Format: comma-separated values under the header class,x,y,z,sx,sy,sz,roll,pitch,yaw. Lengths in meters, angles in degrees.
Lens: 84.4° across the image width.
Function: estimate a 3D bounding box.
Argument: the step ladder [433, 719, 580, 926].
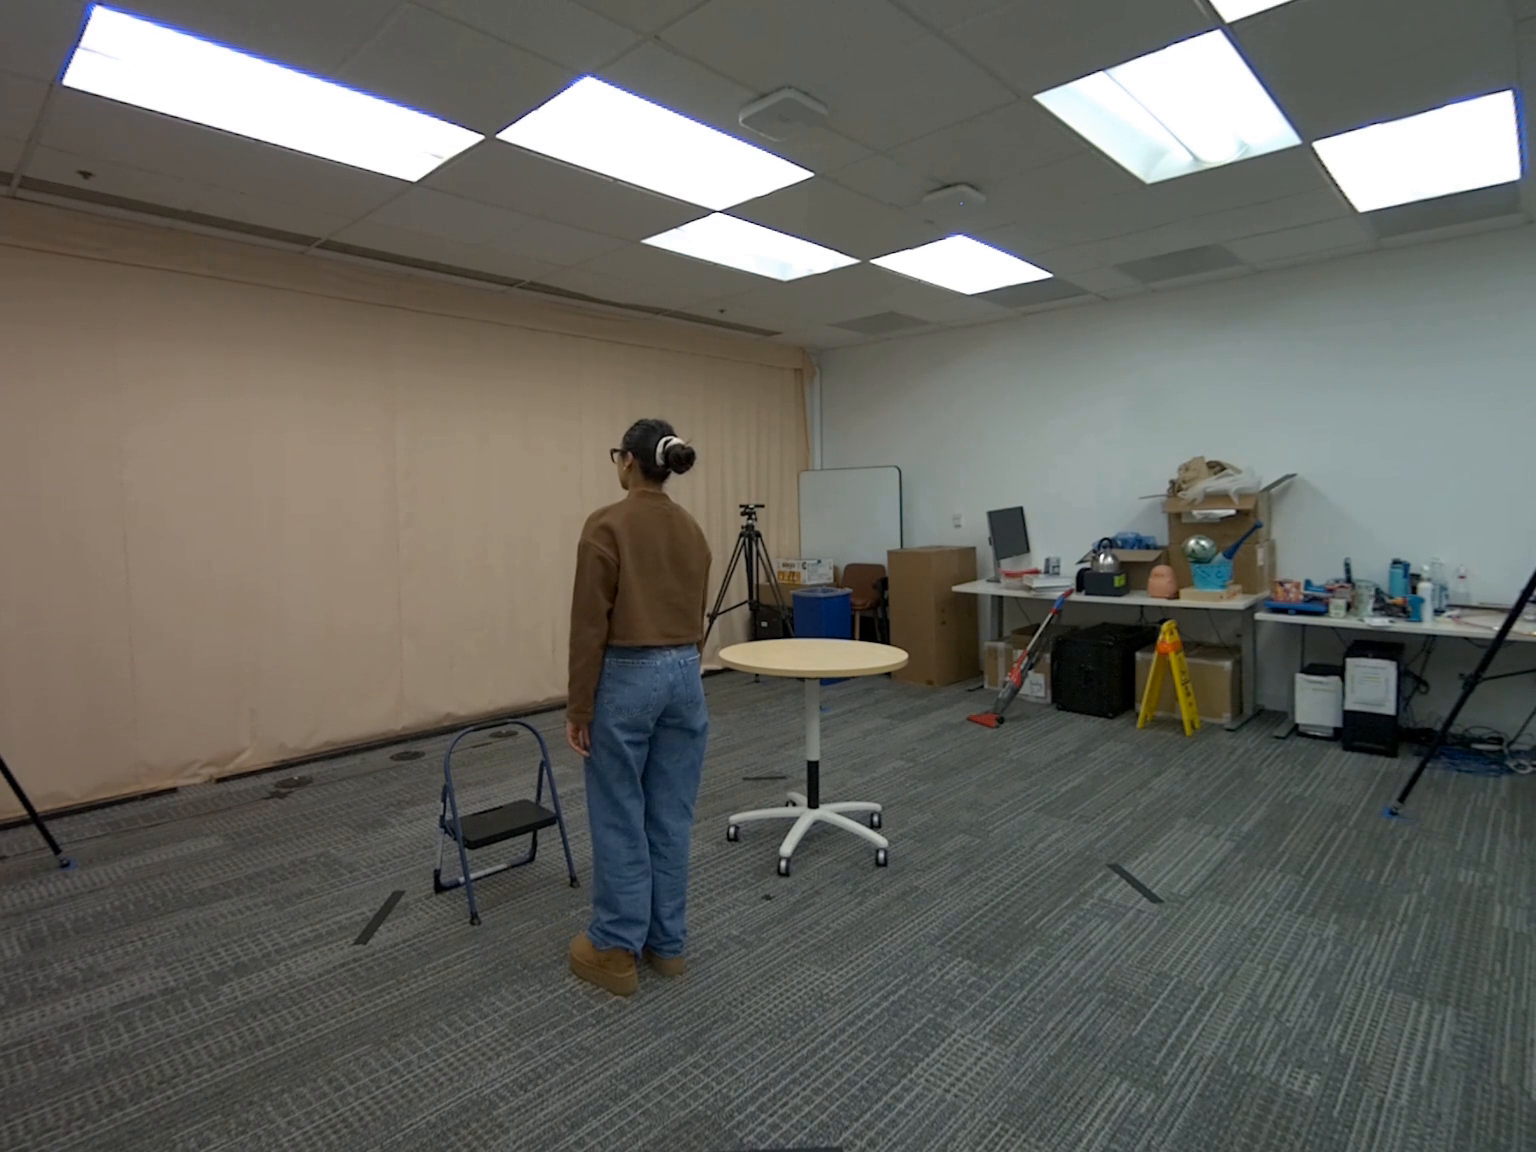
class,x,y,z,sx,sy,sz,roll,pitch,yaw
step ladder,-0.973,0.857,3.087,0.417,0.605,0.361,-5,5,-44
